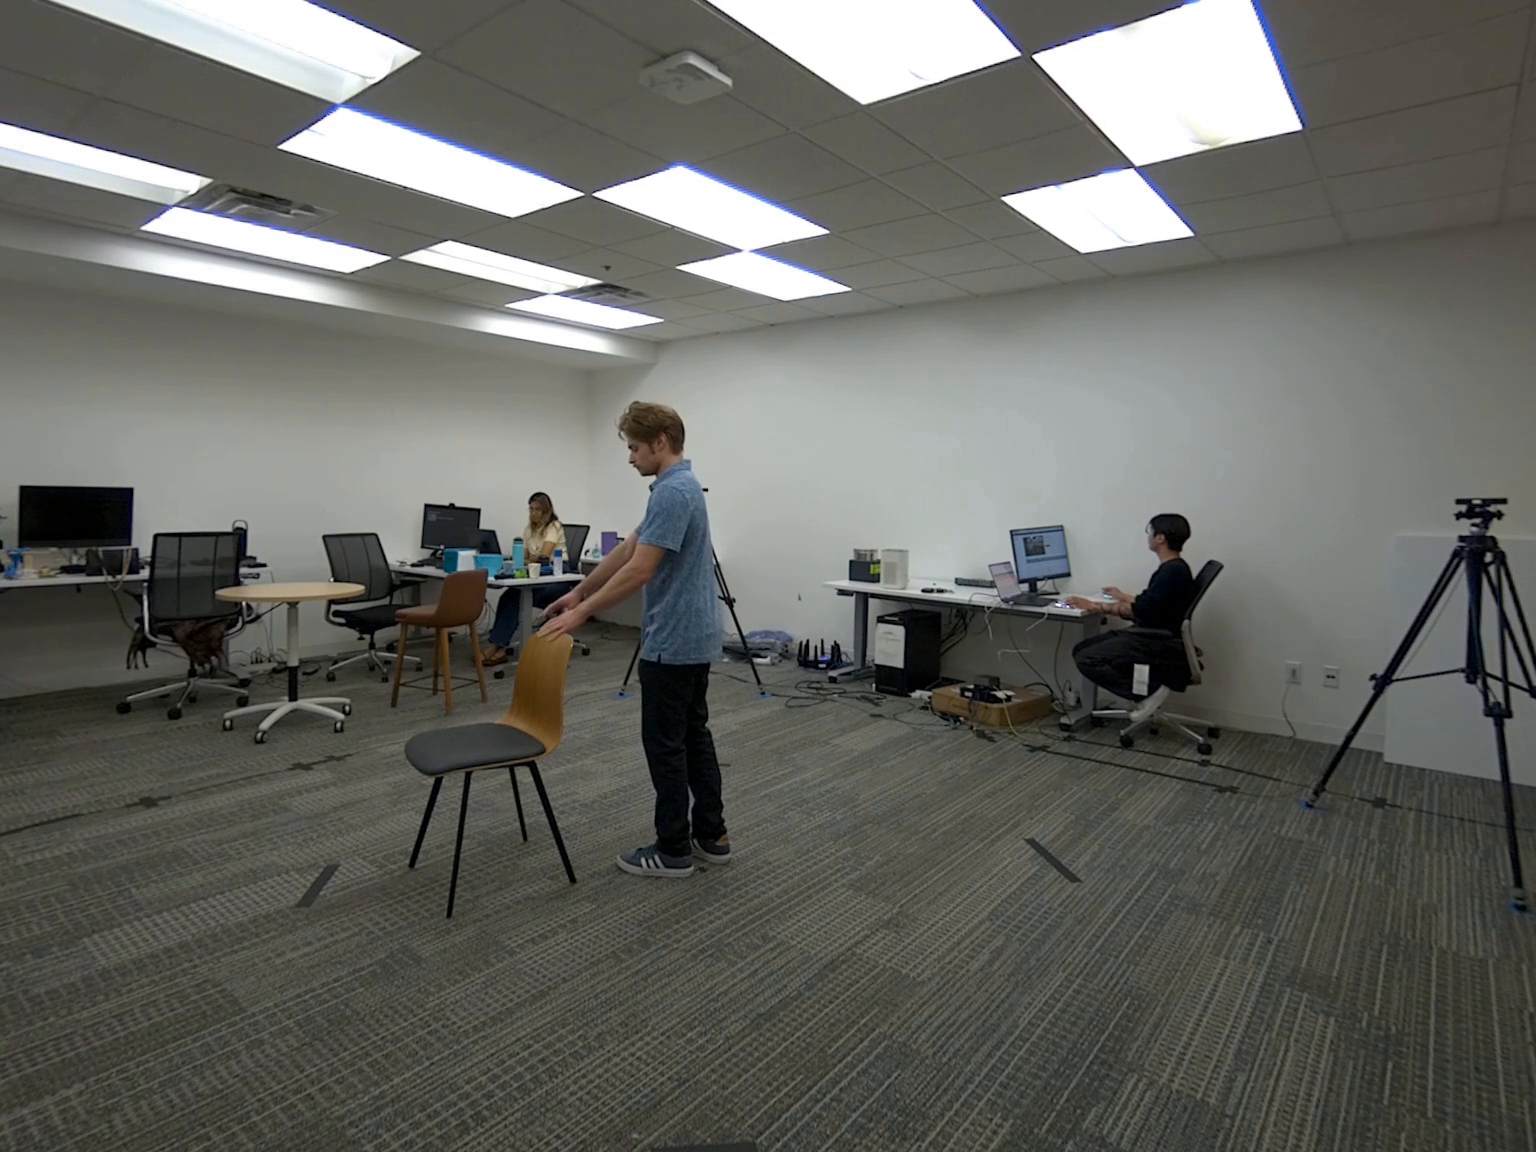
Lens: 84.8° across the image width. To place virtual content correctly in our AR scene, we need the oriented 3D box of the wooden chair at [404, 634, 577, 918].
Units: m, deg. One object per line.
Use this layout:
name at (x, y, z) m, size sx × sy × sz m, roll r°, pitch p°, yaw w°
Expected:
wooden chair at (-0.999, 0.640, 3.003) m, size 0.506 × 0.877 × 0.494 m, roll 4°, pitch 1°, yaw -38°
